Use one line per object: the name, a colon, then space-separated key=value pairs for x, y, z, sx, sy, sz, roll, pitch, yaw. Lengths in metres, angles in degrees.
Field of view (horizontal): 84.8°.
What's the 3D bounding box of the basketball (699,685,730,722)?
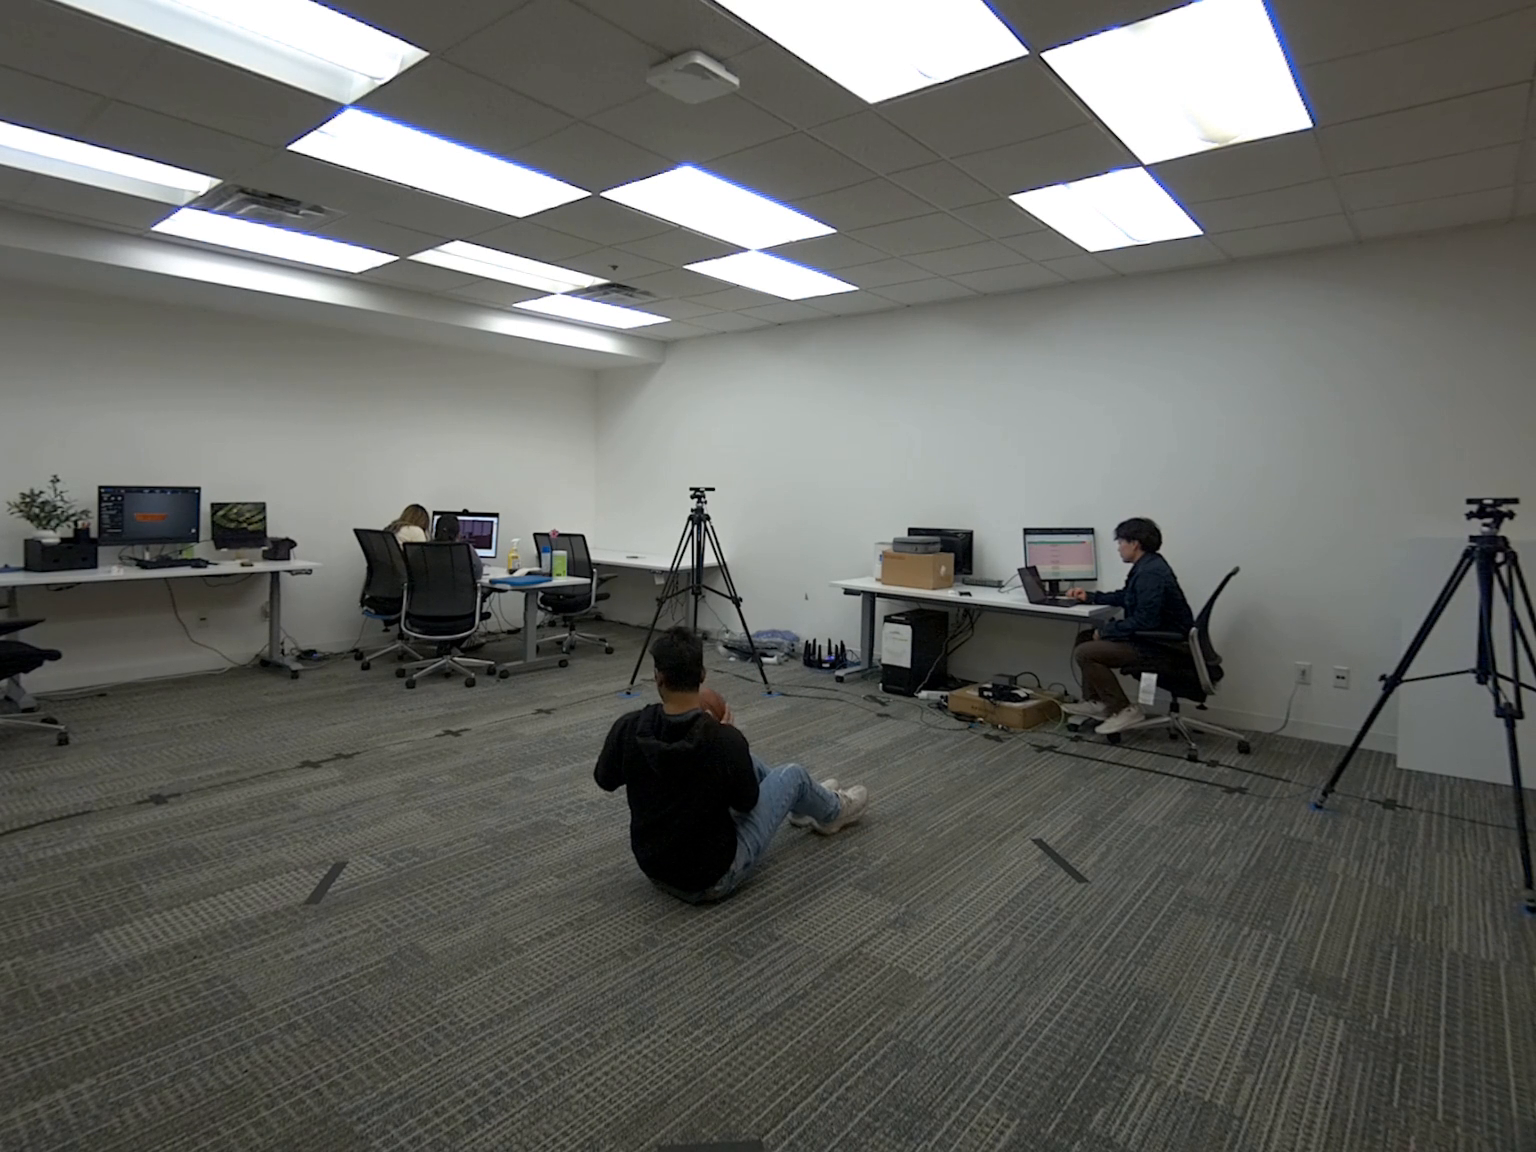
basketball: x=-0.264 y=0.555 z=3.309 sx=0.235 sy=0.235 sz=0.237 roll=1 pitch=4 yaw=-2
